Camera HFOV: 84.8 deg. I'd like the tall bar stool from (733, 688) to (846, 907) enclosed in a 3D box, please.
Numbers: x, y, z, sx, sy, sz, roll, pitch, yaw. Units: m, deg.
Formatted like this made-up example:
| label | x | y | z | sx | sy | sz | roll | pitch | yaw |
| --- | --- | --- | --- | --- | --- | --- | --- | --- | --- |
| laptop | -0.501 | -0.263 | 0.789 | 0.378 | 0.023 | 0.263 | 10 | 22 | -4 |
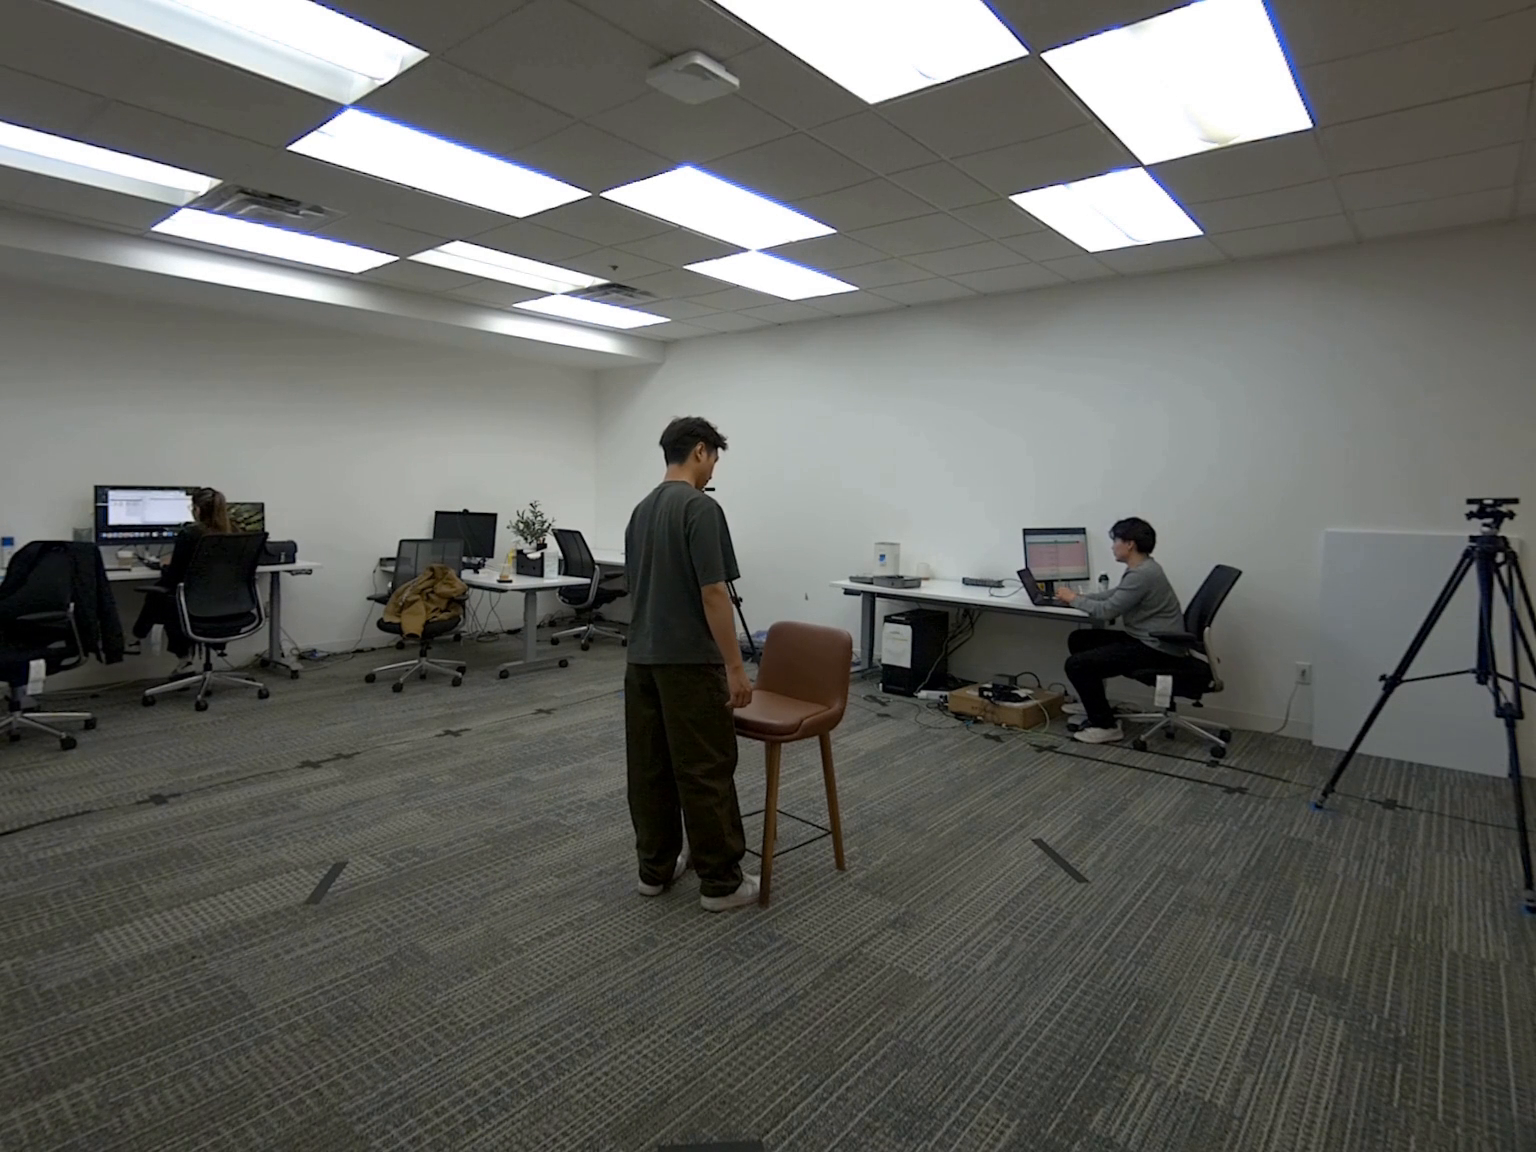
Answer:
| label | x | y | z | sx | sy | sz | roll | pitch | yaw |
| --- | --- | --- | --- | --- | --- | --- | --- | --- | --- |
| tall bar stool | 0.001 | 0.632 | 3.108 | 0.452 | 0.888 | 0.472 | 1 | 2 | -45 |
